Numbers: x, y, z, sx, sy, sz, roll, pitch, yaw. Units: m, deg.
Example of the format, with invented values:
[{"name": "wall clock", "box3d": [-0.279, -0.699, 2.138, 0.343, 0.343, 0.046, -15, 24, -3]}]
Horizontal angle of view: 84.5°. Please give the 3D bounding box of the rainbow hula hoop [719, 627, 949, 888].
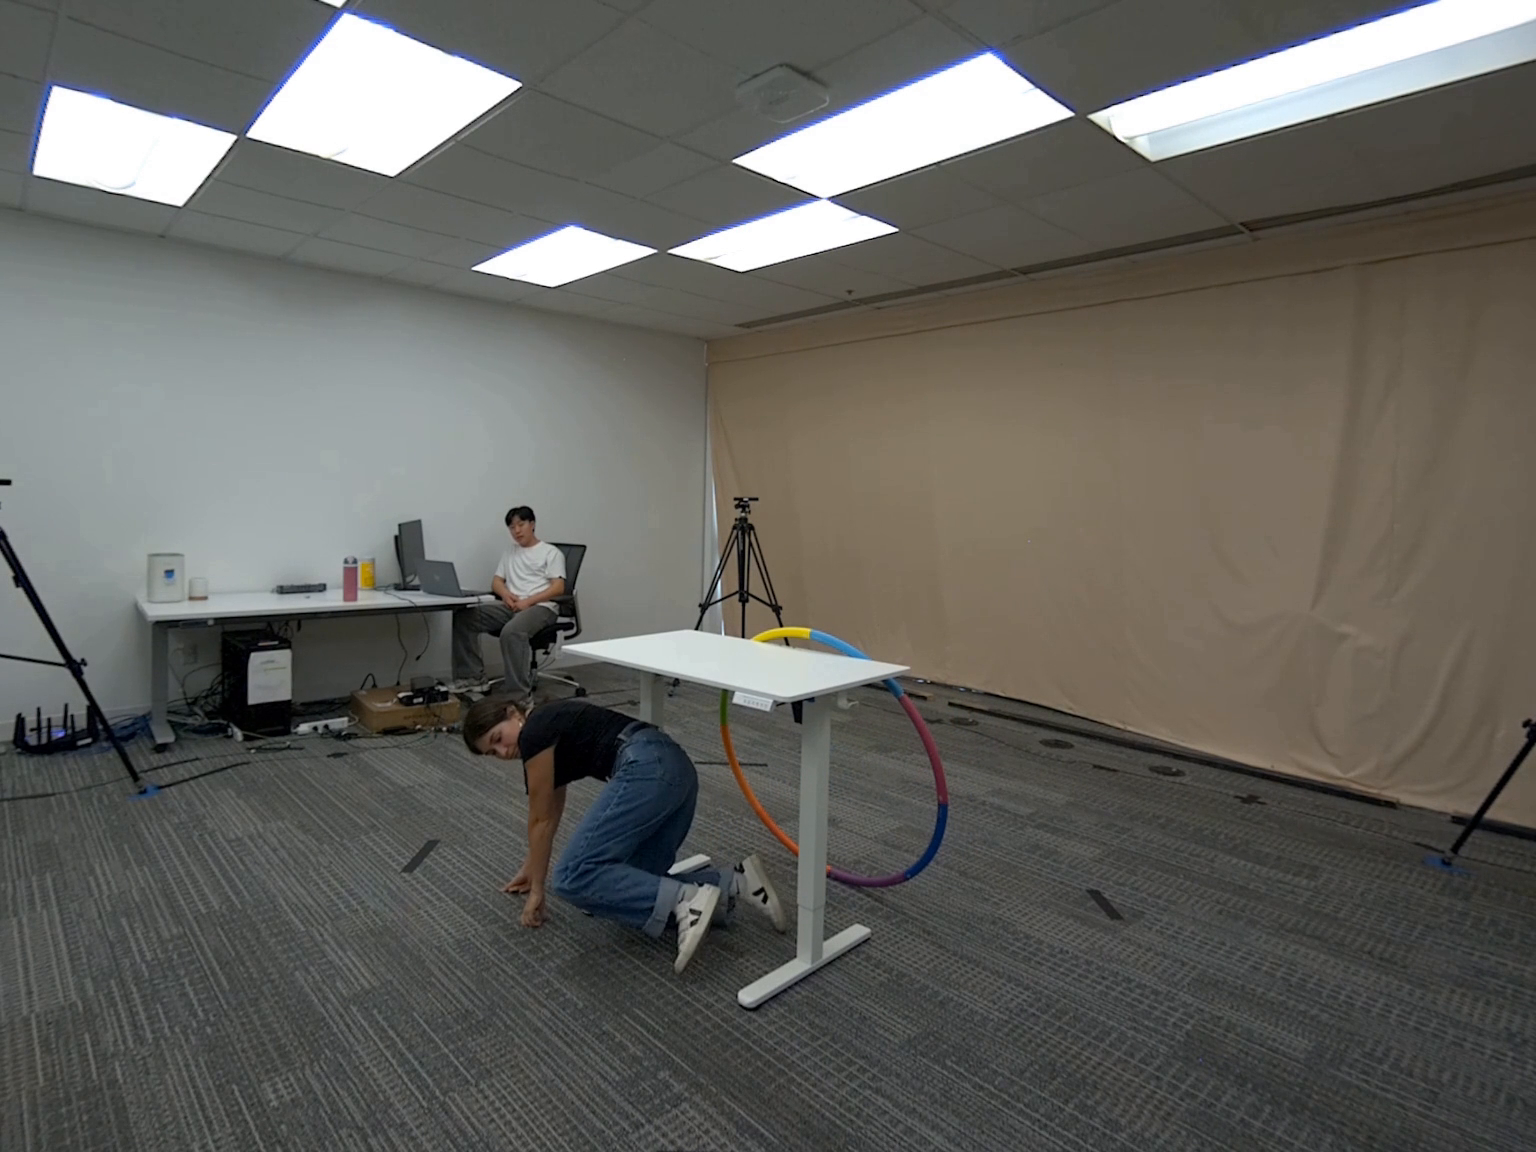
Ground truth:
[{"name": "rainbow hula hoop", "box3d": [0.184, 0.654, 2.990, 1.004, 0.967, 0.035, 5, 19, 42]}]
